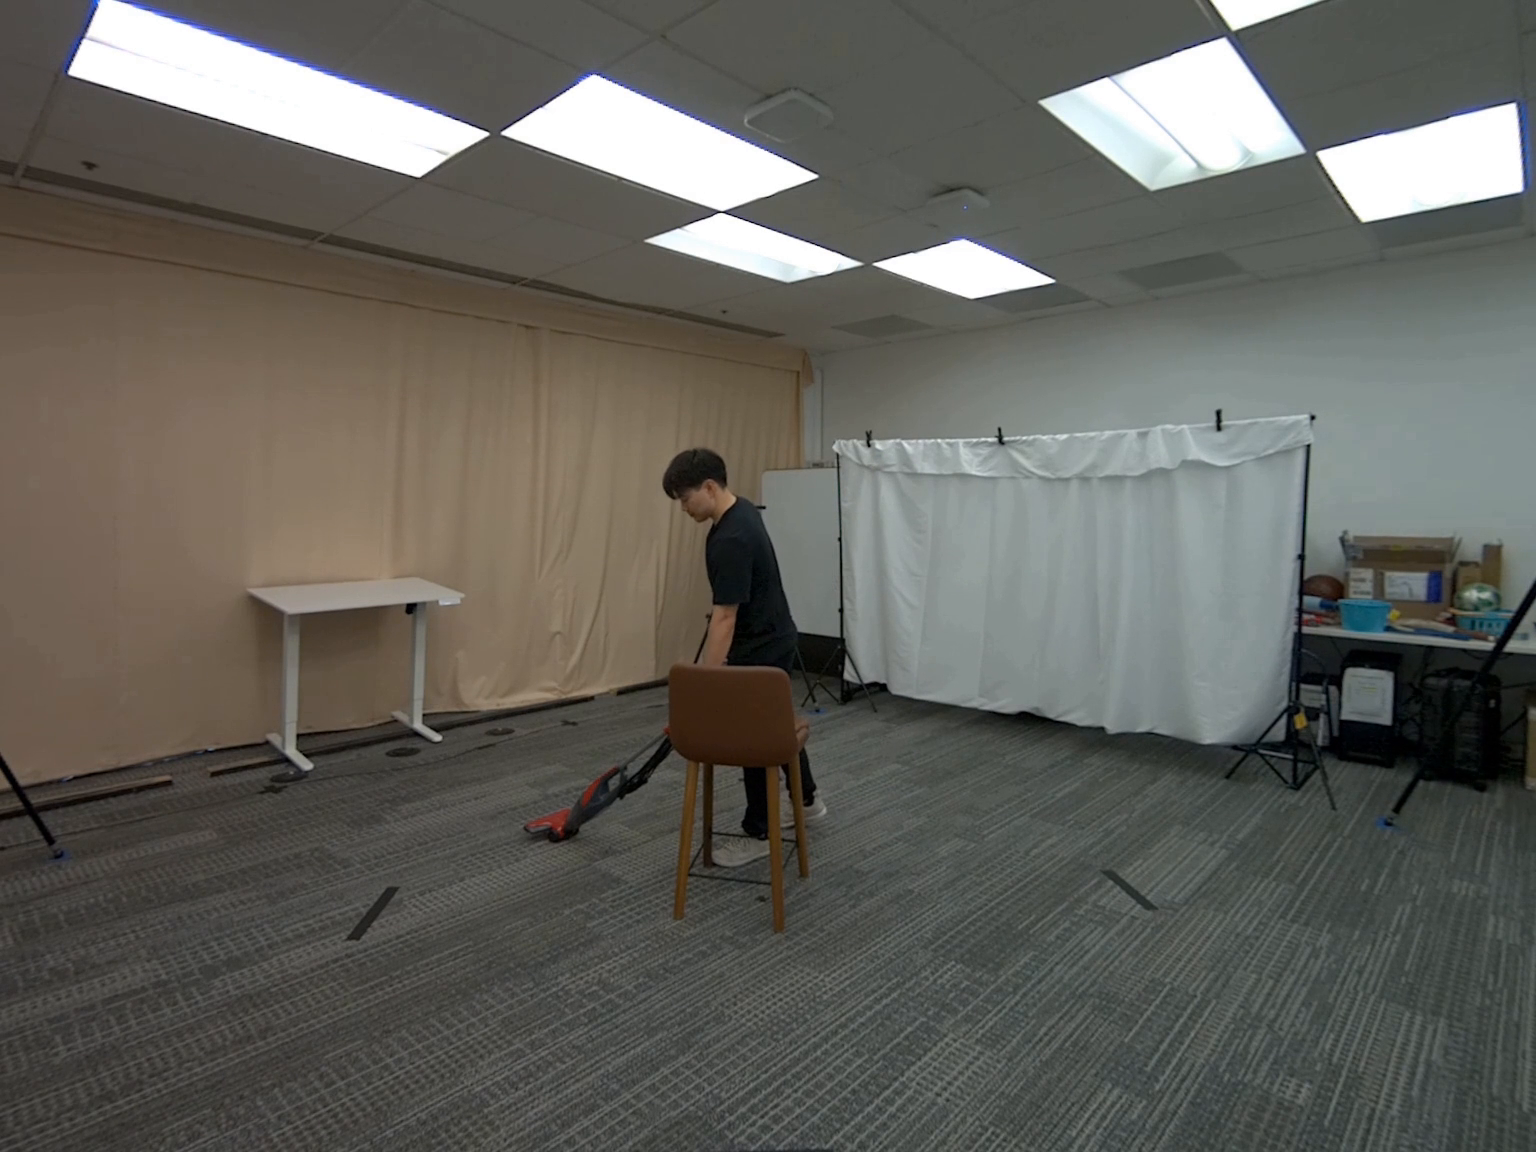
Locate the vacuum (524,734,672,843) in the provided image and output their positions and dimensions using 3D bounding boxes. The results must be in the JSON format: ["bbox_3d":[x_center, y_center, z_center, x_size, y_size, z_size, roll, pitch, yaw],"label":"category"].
[{"bbox_3d":[-0.565,0.797,3.313,1.061,0.146,0.246,-38,-14,32],"label":"vacuum"}]
